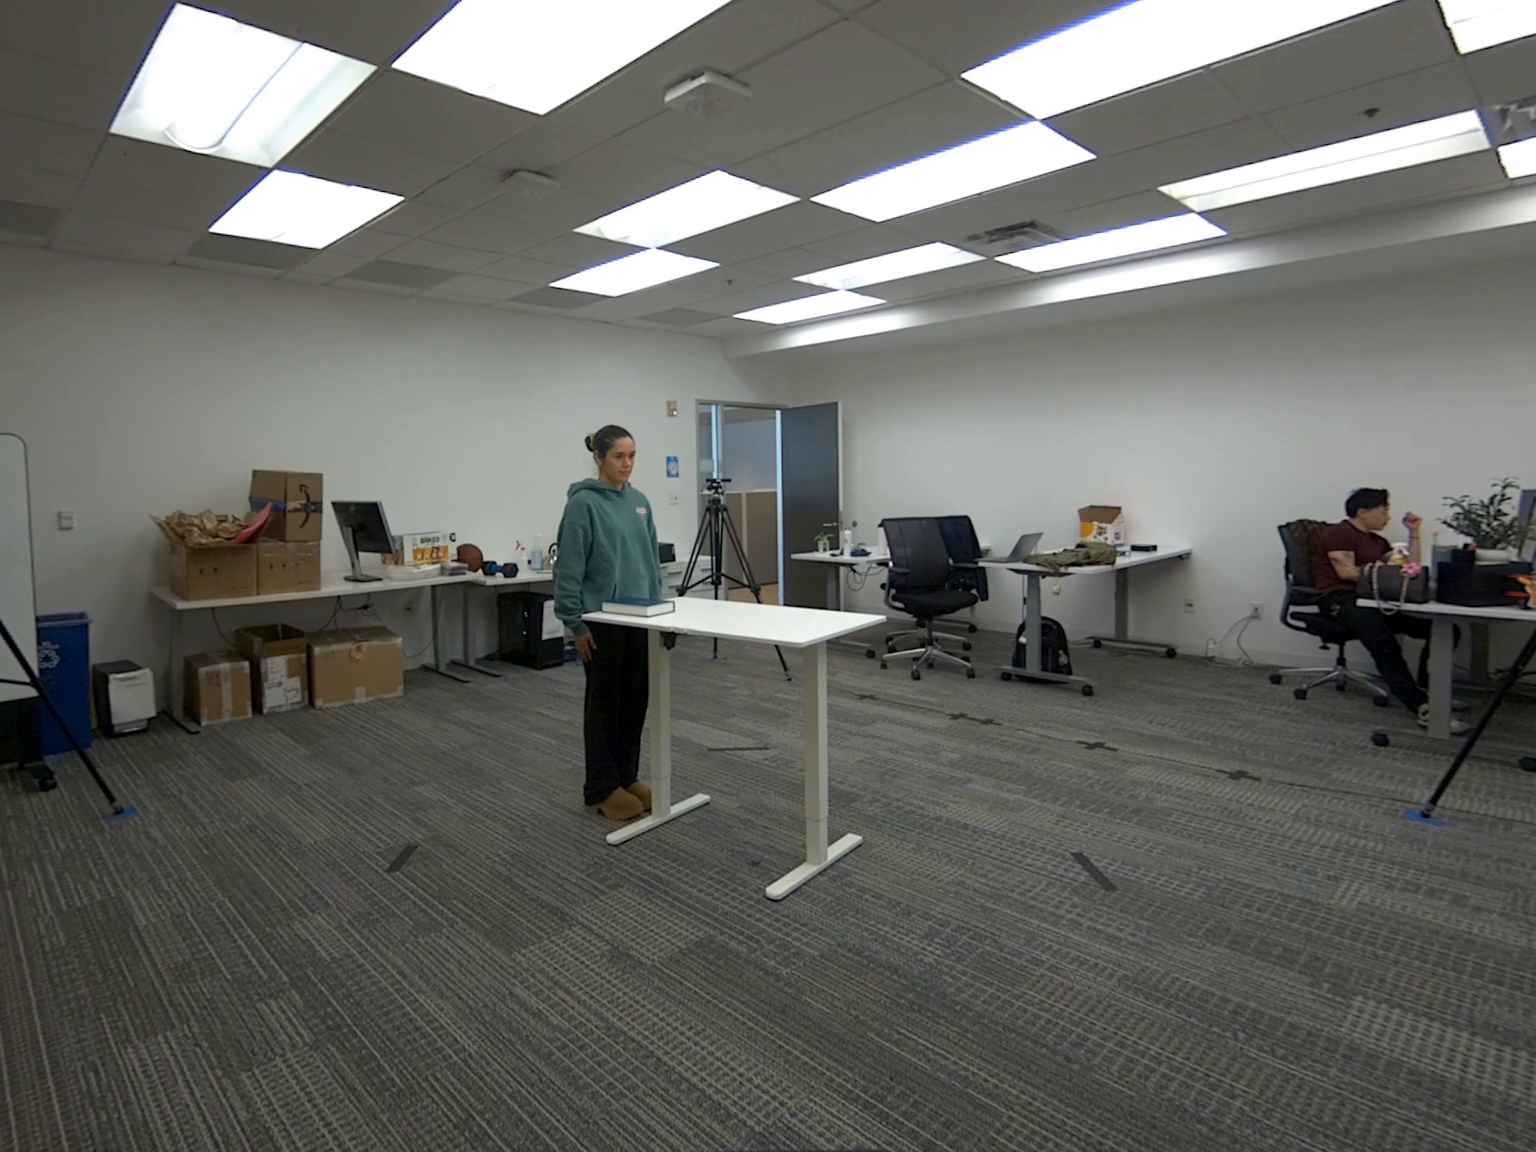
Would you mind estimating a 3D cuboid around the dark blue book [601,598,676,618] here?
[{"bbox_3d":[-0.511,0.122,3.348,0.252,0.045,0.159,3,7,33],"label":"dark blue book"}]
